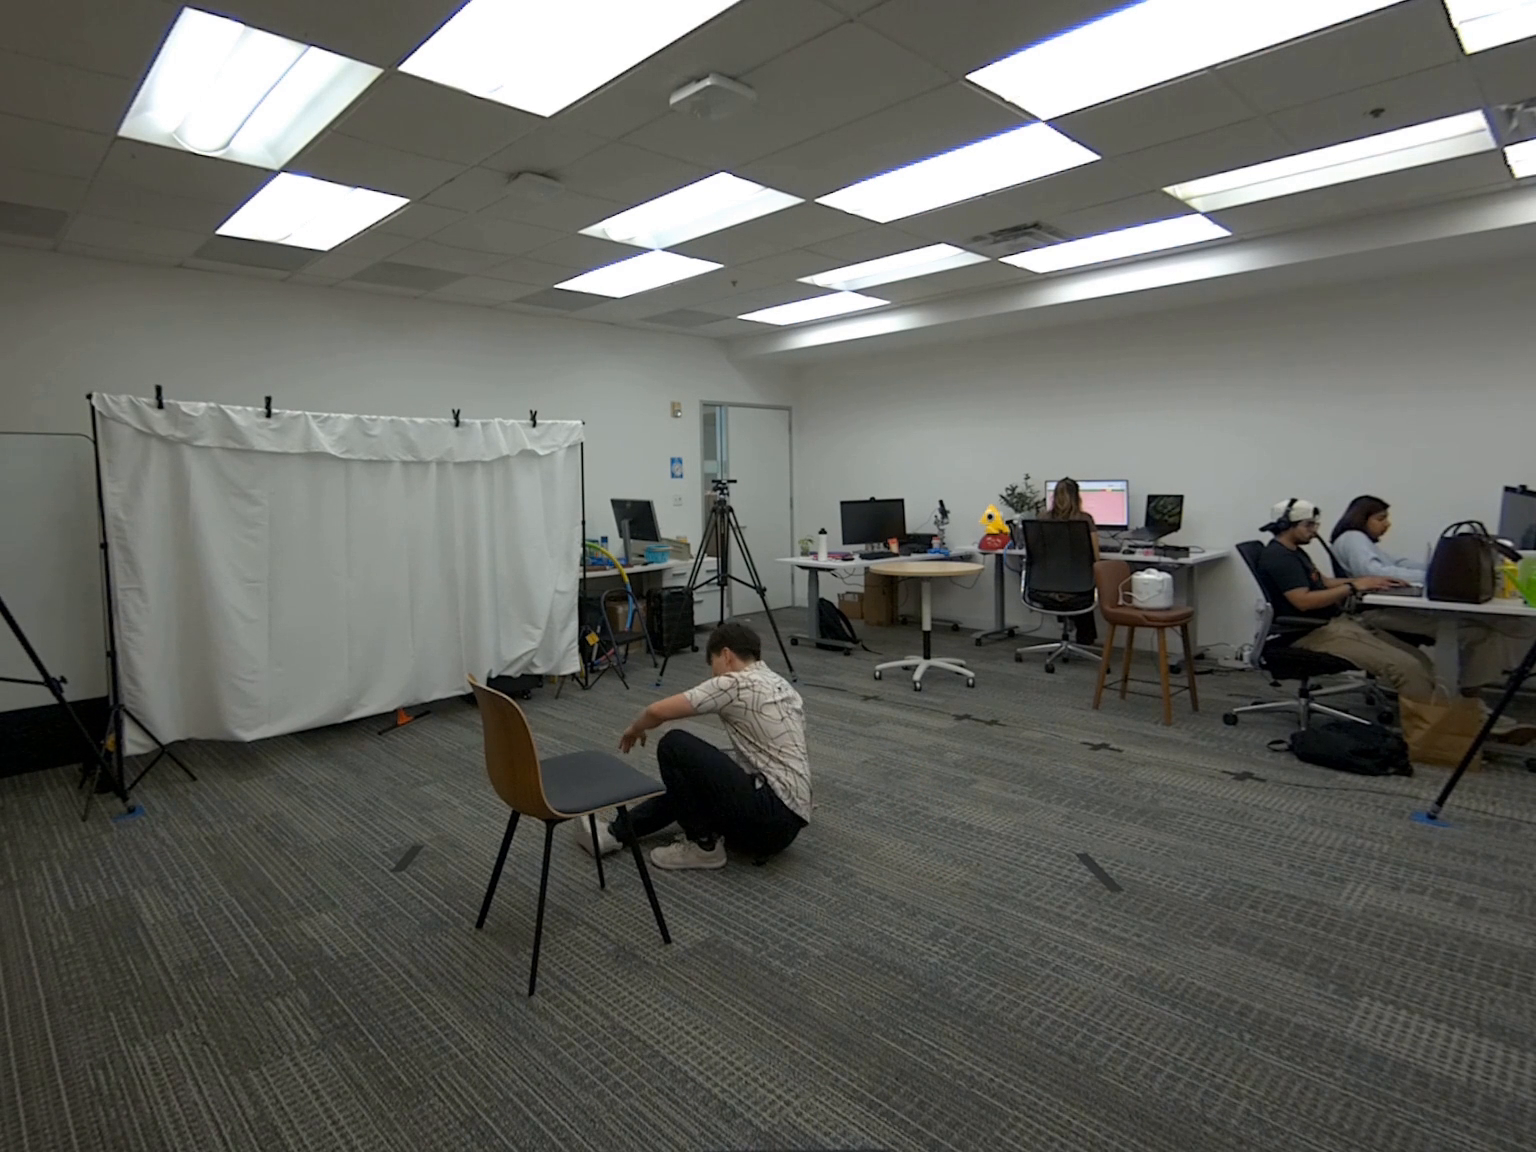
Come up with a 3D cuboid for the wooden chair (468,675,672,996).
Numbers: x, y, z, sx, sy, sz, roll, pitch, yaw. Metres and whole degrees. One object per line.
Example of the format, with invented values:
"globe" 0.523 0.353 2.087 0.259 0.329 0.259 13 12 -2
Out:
"wooden chair" -0.607 0.688 2.618 0.511 0.872 0.492 -9 8 -35
